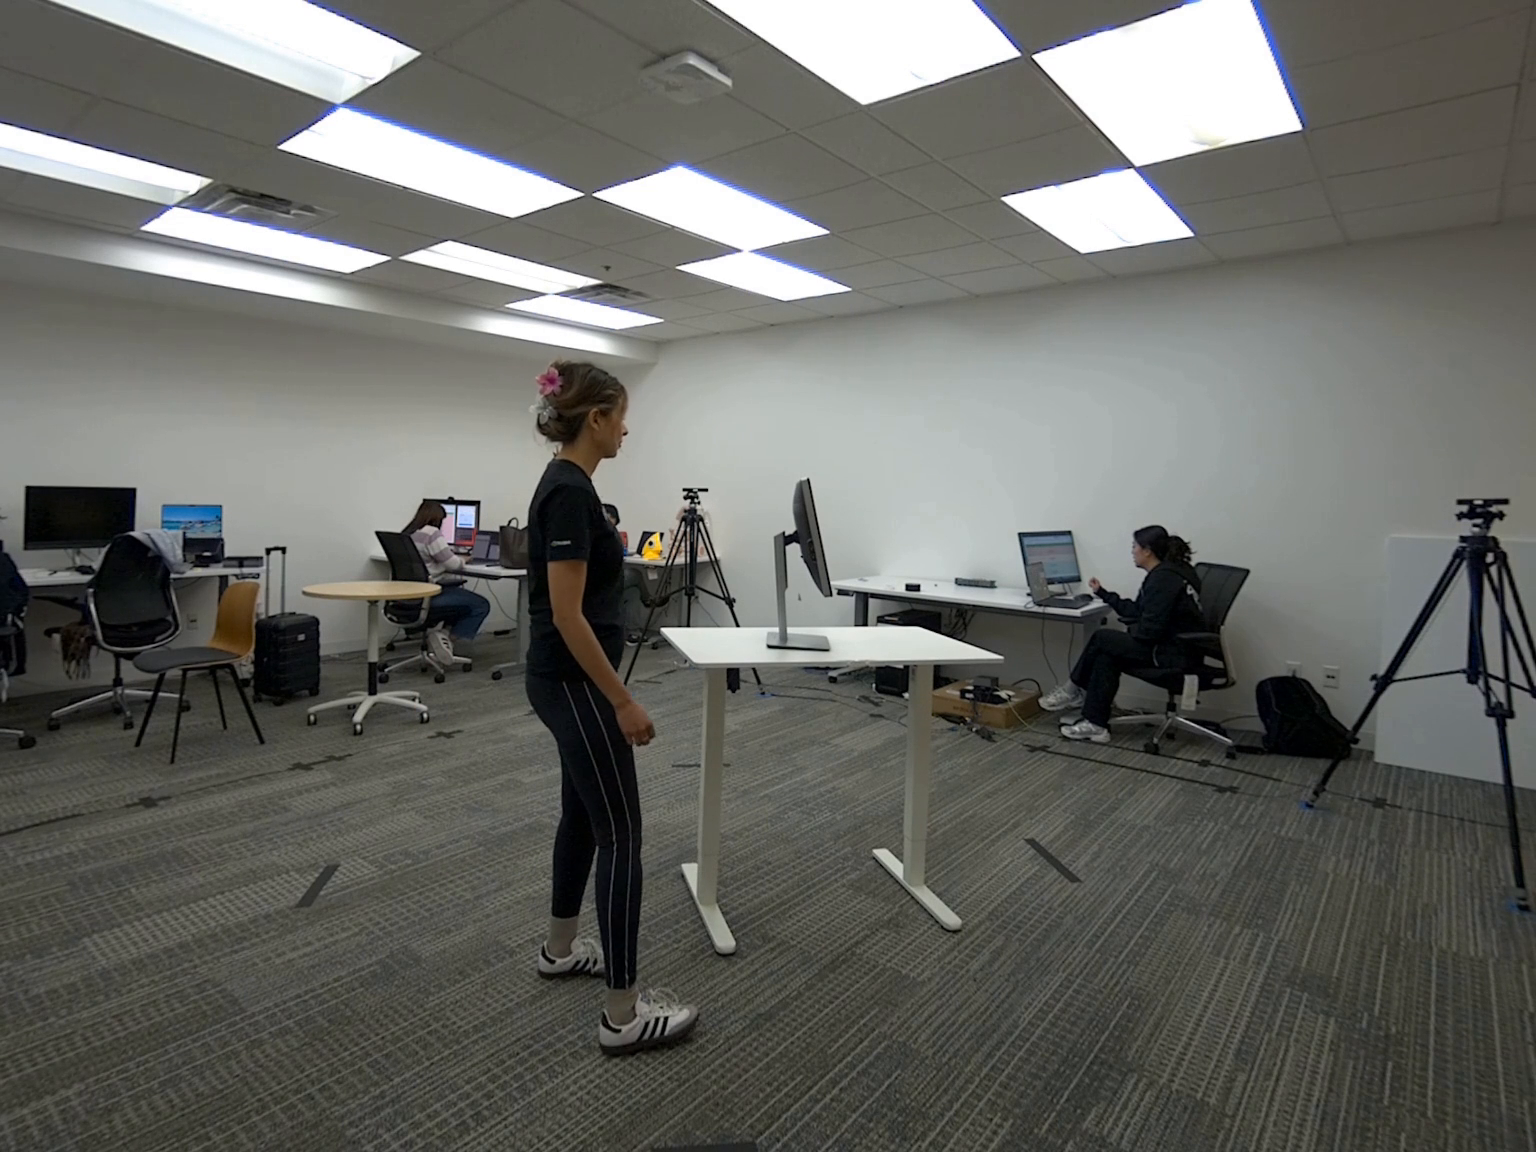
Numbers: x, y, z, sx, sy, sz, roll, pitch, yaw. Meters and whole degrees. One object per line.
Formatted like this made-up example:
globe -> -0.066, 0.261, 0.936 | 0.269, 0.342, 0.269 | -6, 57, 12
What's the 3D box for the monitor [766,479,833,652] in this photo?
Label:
monitor -> 0.096, -0.042, 2.819 | 0.187, 0.521, 0.541 | 2, 4, -3
